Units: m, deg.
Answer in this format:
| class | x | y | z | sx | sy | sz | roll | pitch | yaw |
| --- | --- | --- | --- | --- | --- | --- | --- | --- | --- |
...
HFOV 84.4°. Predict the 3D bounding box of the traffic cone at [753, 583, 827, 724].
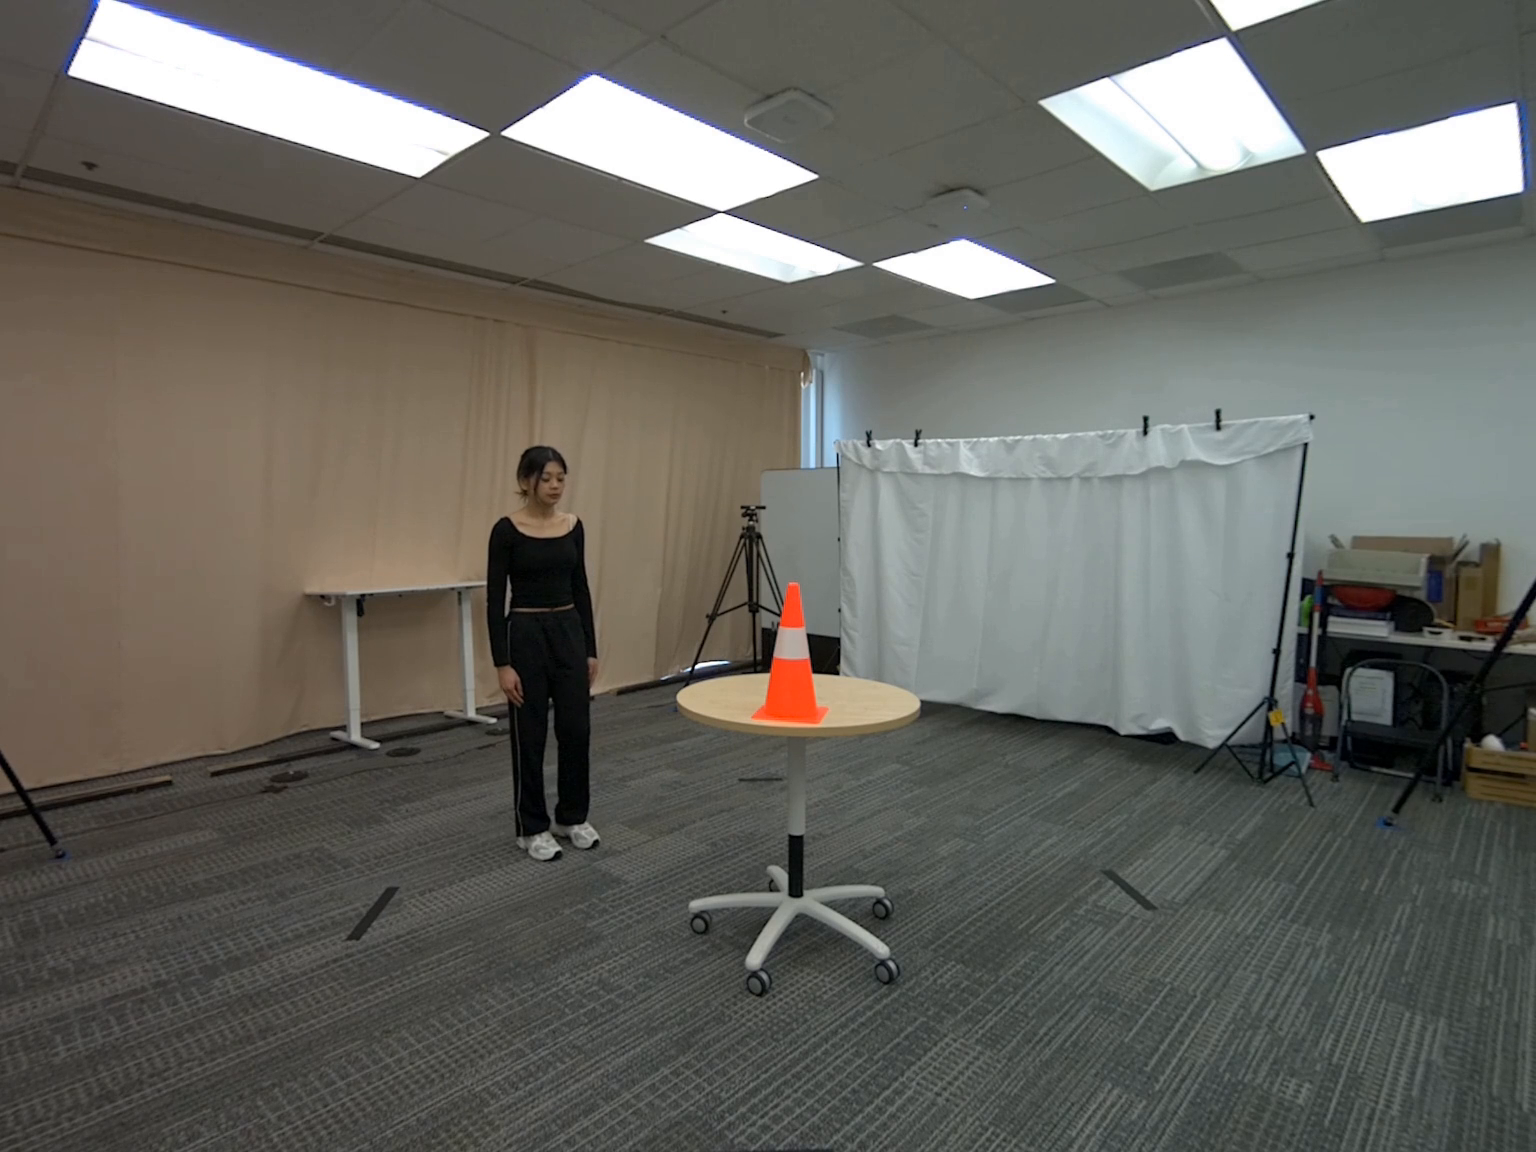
| class | x | y | z | sx | sy | sz | roll | pitch | yaw |
| --- | --- | --- | --- | --- | --- | --- | --- | --- | --- |
| traffic cone | 0.077 | 0.215 | 2.443 | 0.204 | 0.382 | 0.204 | -1 | 4 | 5 |
